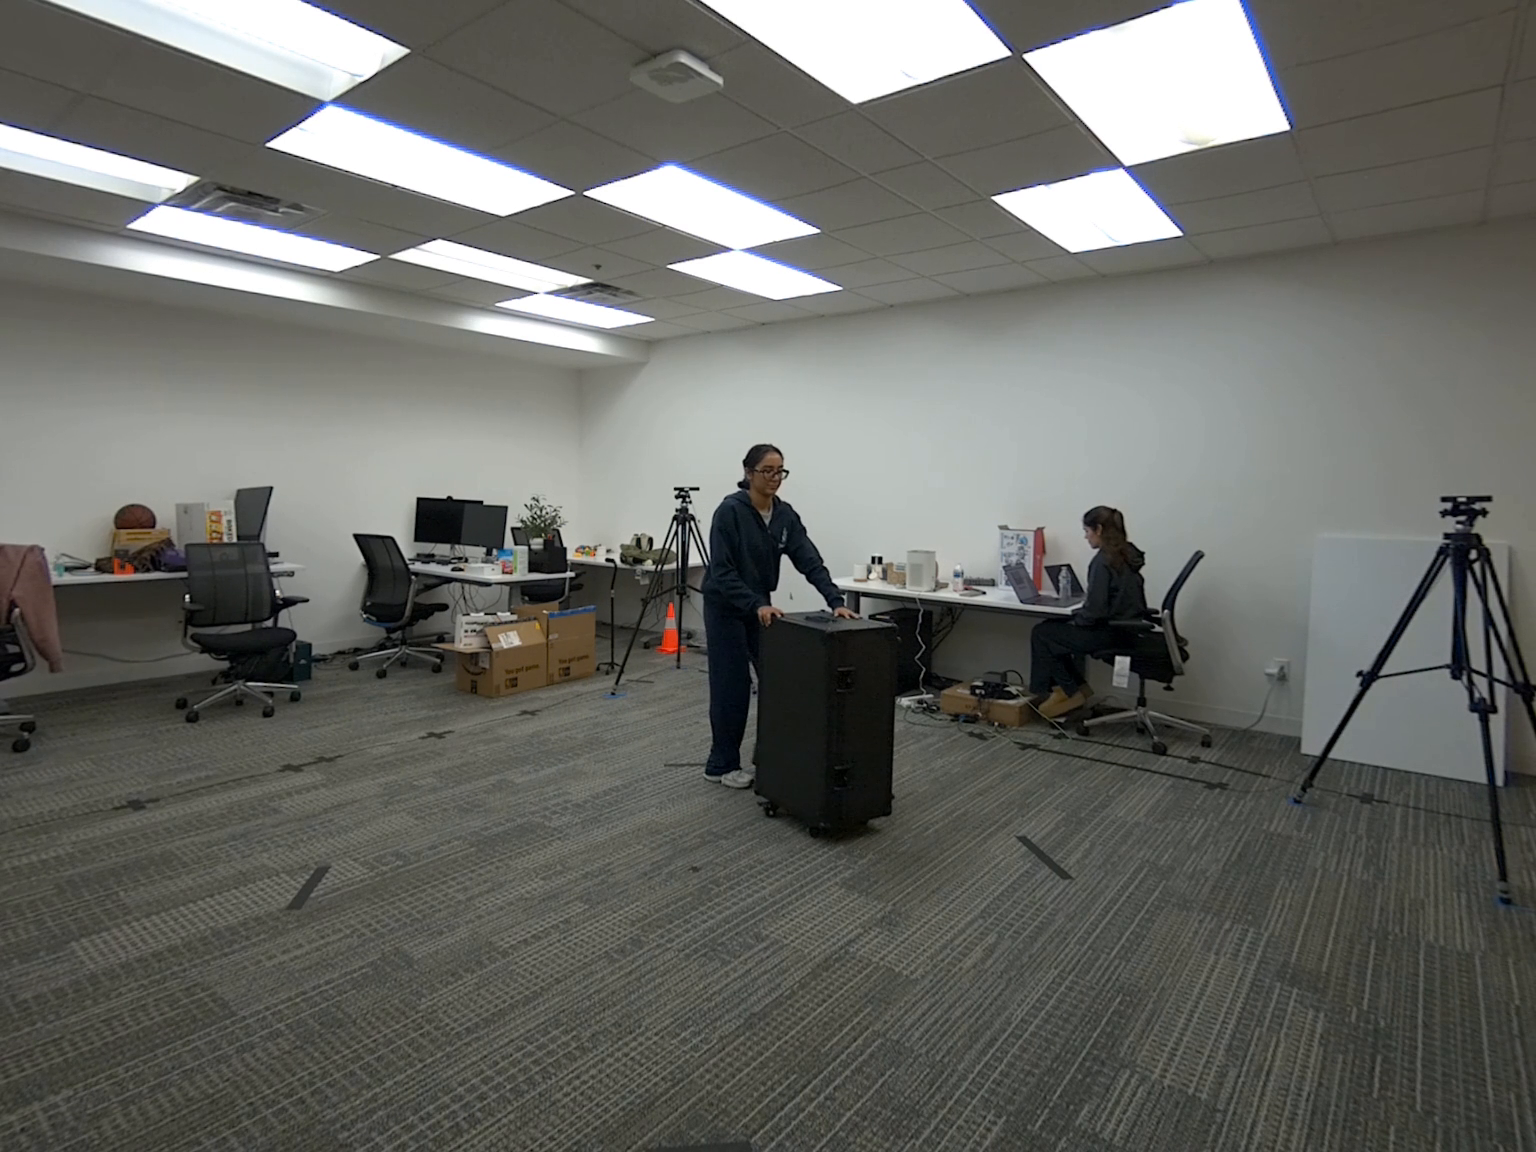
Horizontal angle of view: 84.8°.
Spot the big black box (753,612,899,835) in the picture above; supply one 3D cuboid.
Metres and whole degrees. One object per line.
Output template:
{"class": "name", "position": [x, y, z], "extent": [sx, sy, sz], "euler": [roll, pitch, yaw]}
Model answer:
{"class": "big black box", "position": [0.229, 0.600, 3.581], "extent": [0.385, 0.859, 0.538], "euler": [0, 3, -35]}
